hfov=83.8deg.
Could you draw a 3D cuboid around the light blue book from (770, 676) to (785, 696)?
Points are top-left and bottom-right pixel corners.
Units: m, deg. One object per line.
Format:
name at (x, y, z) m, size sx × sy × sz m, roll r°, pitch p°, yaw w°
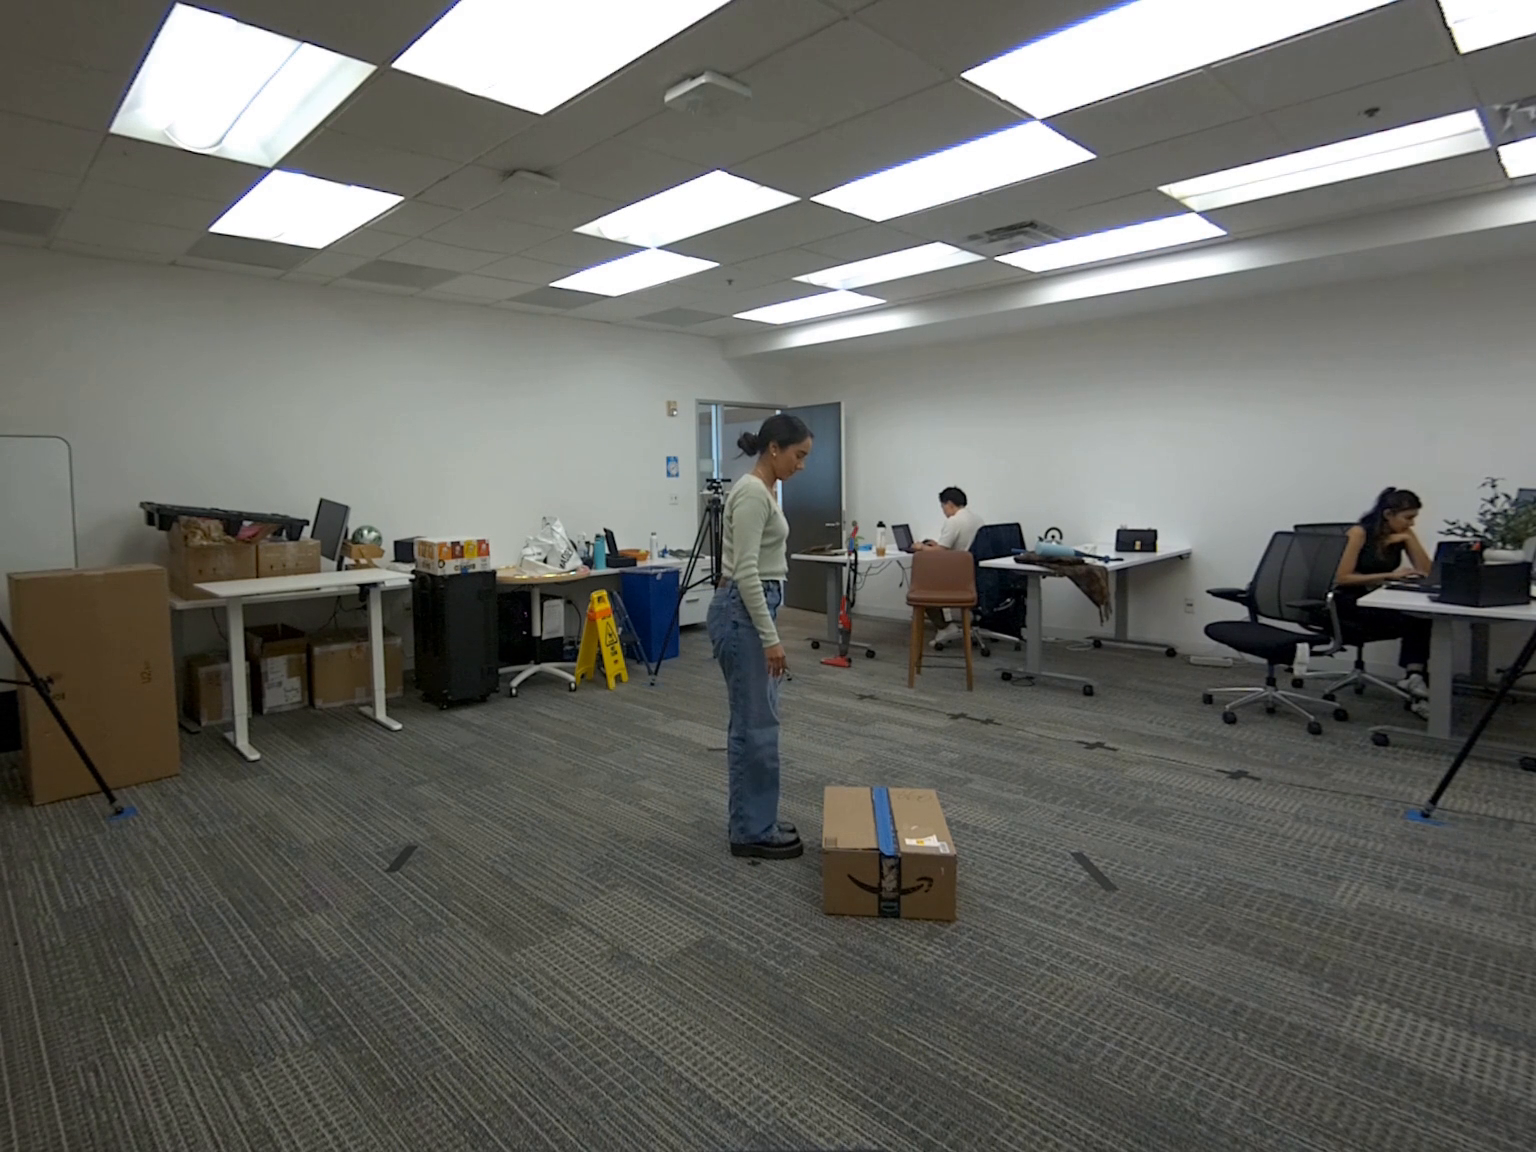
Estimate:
light blue book at (-0.033, 0.405, 3.536) m, size 0.058 × 0.197 × 0.258 m, roll -18°, pitch -32°, yaw -37°
